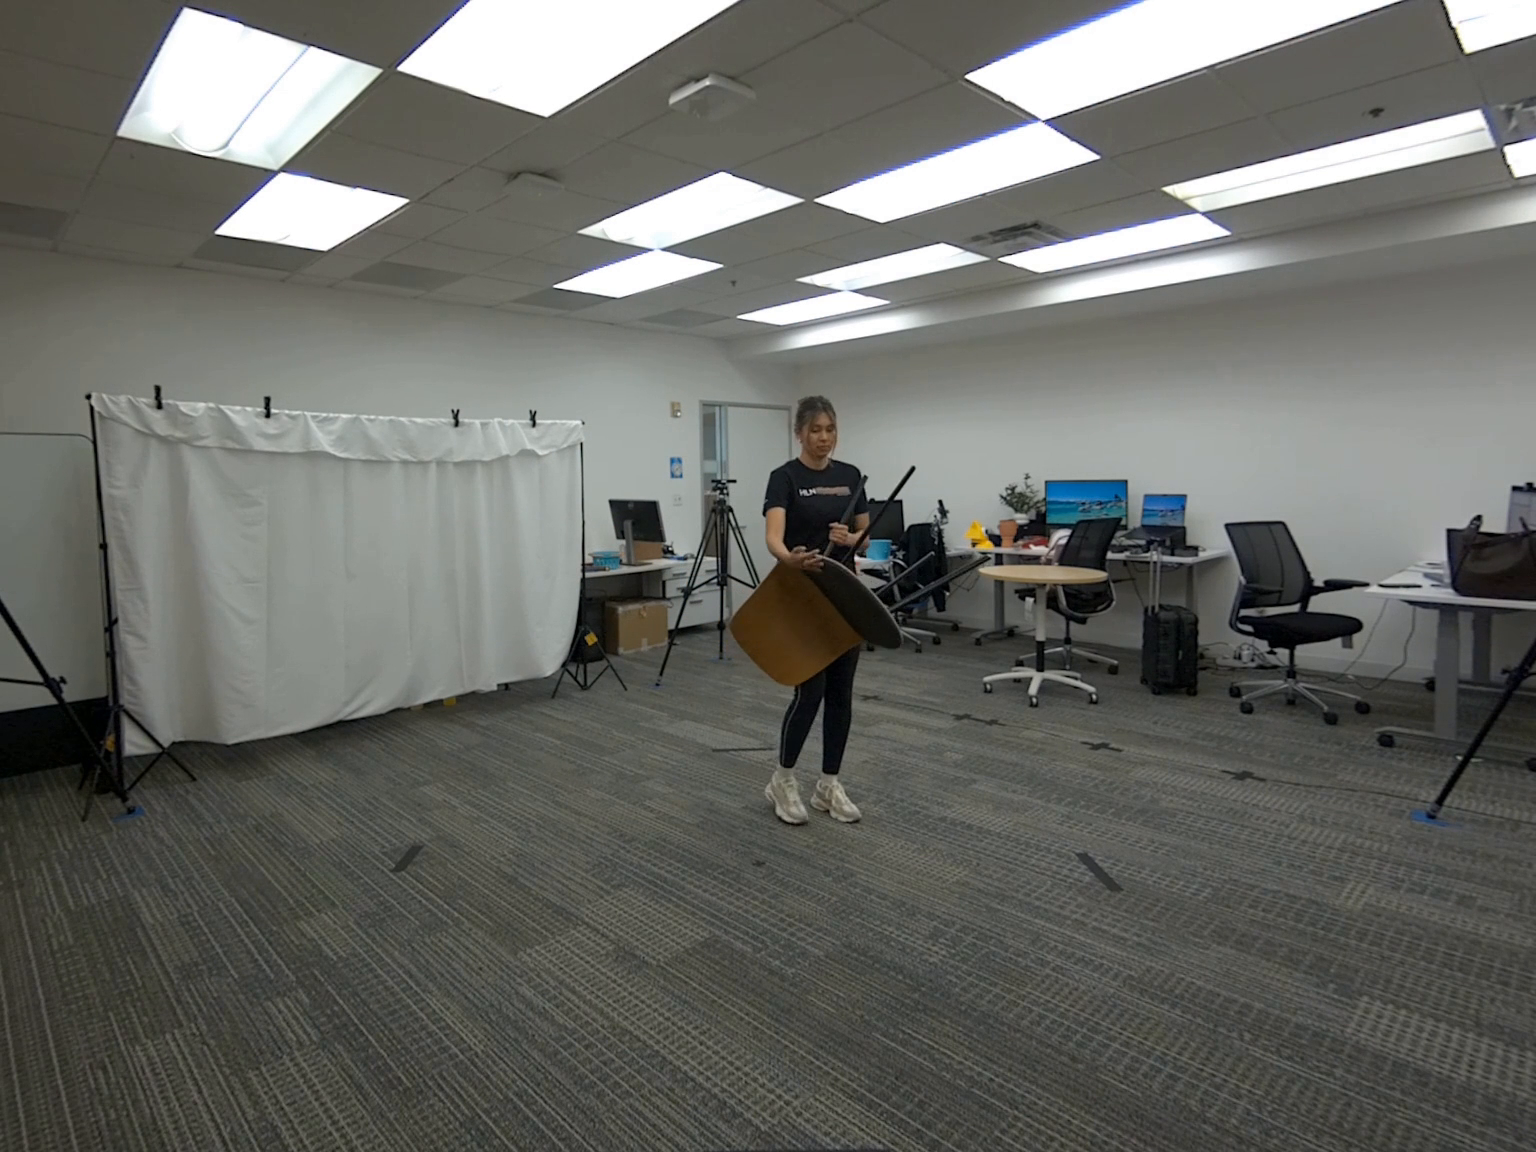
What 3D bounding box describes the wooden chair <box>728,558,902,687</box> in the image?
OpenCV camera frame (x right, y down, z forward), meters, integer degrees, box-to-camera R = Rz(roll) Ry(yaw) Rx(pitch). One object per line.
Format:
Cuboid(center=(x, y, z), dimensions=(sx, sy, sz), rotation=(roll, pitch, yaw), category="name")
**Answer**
Cuboid(center=(0.300, 0.064, 3.202), dimensions=(0.876, 0.472, 0.531), rotation=(-42, 12, -6), category="wooden chair")
